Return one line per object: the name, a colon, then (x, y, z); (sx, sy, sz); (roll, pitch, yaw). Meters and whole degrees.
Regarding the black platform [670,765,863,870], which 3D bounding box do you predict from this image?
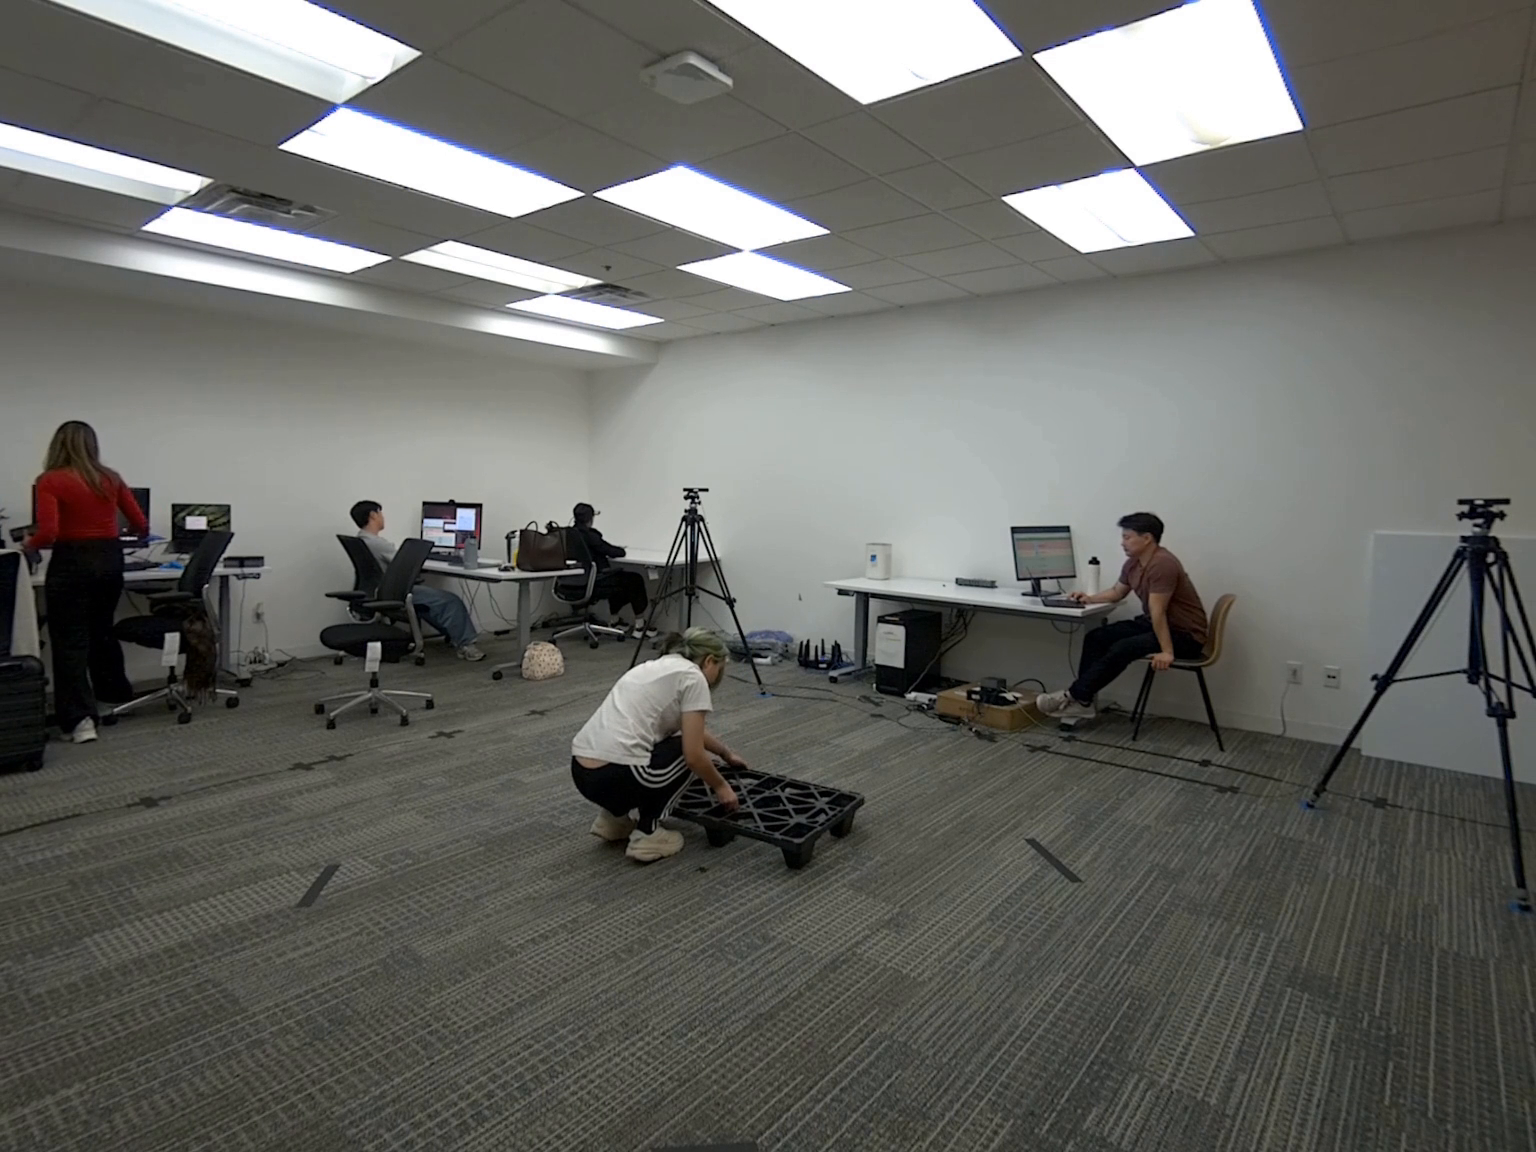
black platform: (-0.094, 0.968, 3.500); (0.830, 0.143, 0.589); (4, 7, 32)
